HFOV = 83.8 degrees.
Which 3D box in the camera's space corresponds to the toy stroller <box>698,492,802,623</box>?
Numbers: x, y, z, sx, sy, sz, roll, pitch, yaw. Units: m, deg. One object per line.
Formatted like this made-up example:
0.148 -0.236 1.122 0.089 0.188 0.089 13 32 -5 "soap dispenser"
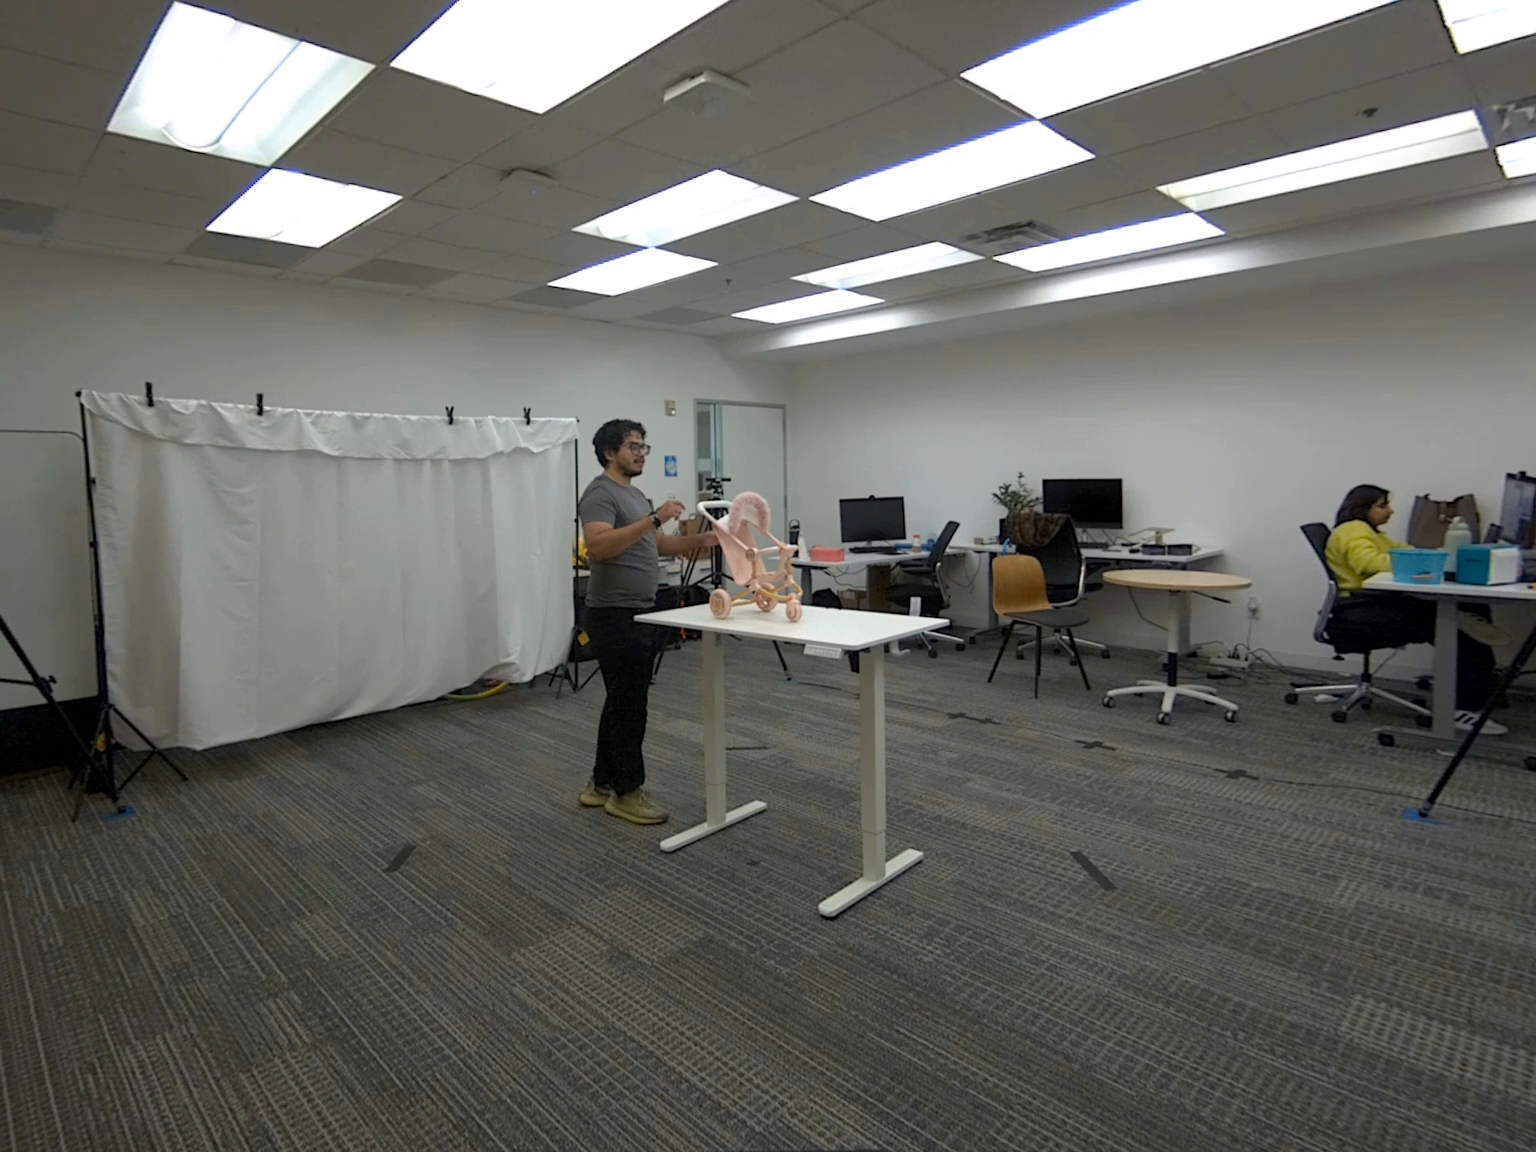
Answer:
-0.050 -0.069 3.161 0.274 0.540 0.347 -4 -12 -41 "toy stroller"
